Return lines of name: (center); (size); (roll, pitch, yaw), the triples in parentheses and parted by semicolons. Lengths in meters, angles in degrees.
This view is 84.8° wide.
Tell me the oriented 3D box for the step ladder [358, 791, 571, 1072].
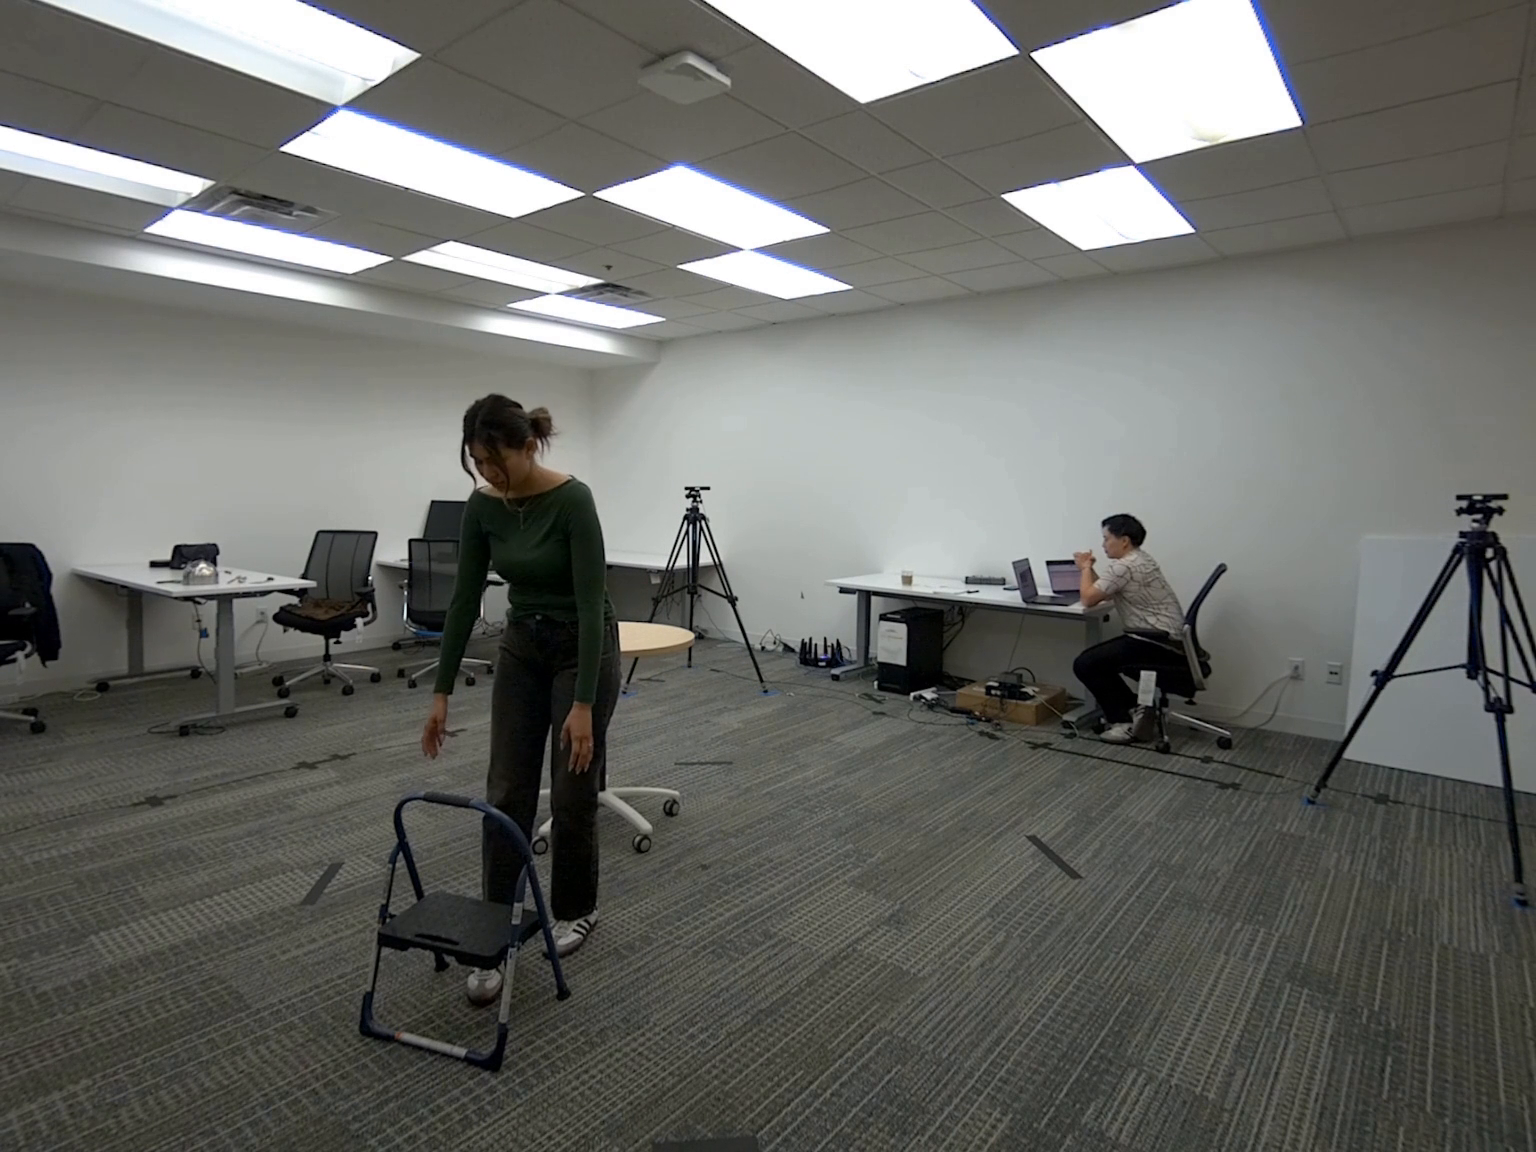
step ladder: (-0.799, 0.846, 2.217); (0.439, 0.604, 0.344); (2, 4, 17)
